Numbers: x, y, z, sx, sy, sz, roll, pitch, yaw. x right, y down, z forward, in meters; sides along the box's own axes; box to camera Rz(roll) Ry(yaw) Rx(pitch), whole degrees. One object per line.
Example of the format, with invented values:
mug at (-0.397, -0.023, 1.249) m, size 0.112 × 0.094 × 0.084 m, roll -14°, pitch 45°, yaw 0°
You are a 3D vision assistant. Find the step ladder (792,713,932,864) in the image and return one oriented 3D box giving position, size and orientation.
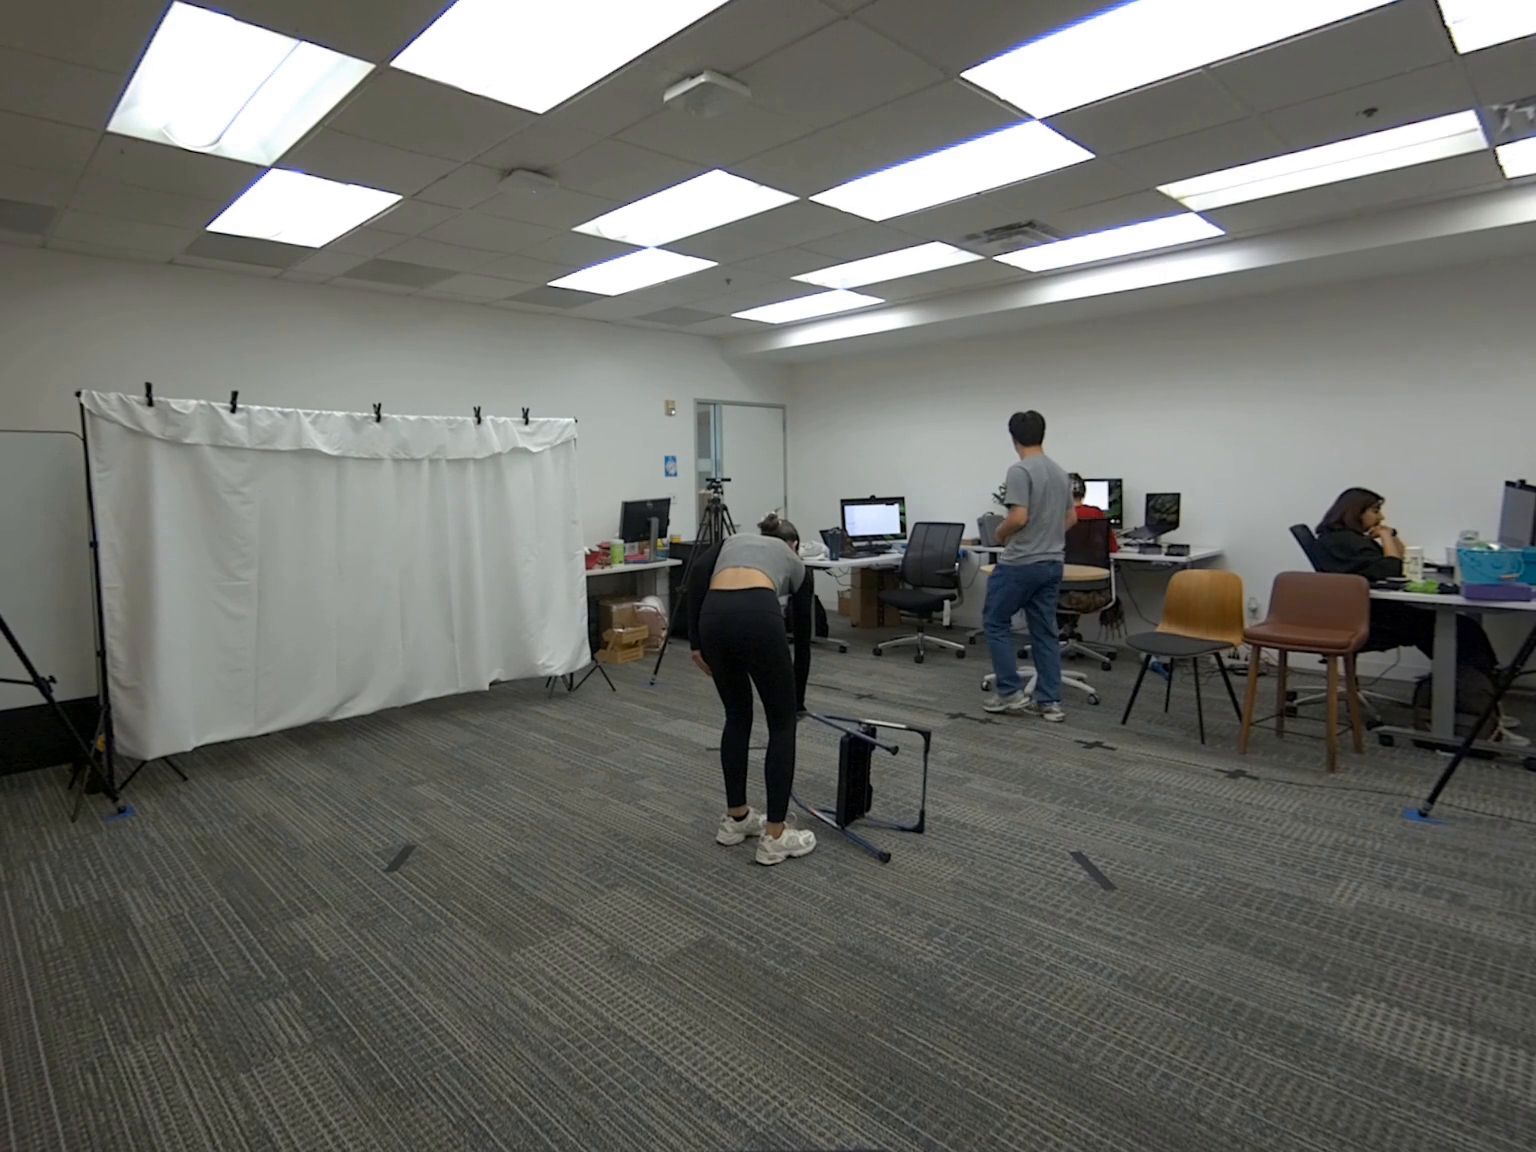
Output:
step ladder at (0.291, 0.778, 3.379) m, size 0.625 × 0.429 × 0.340 m, roll 7°, pitch 7°, yaw 36°
